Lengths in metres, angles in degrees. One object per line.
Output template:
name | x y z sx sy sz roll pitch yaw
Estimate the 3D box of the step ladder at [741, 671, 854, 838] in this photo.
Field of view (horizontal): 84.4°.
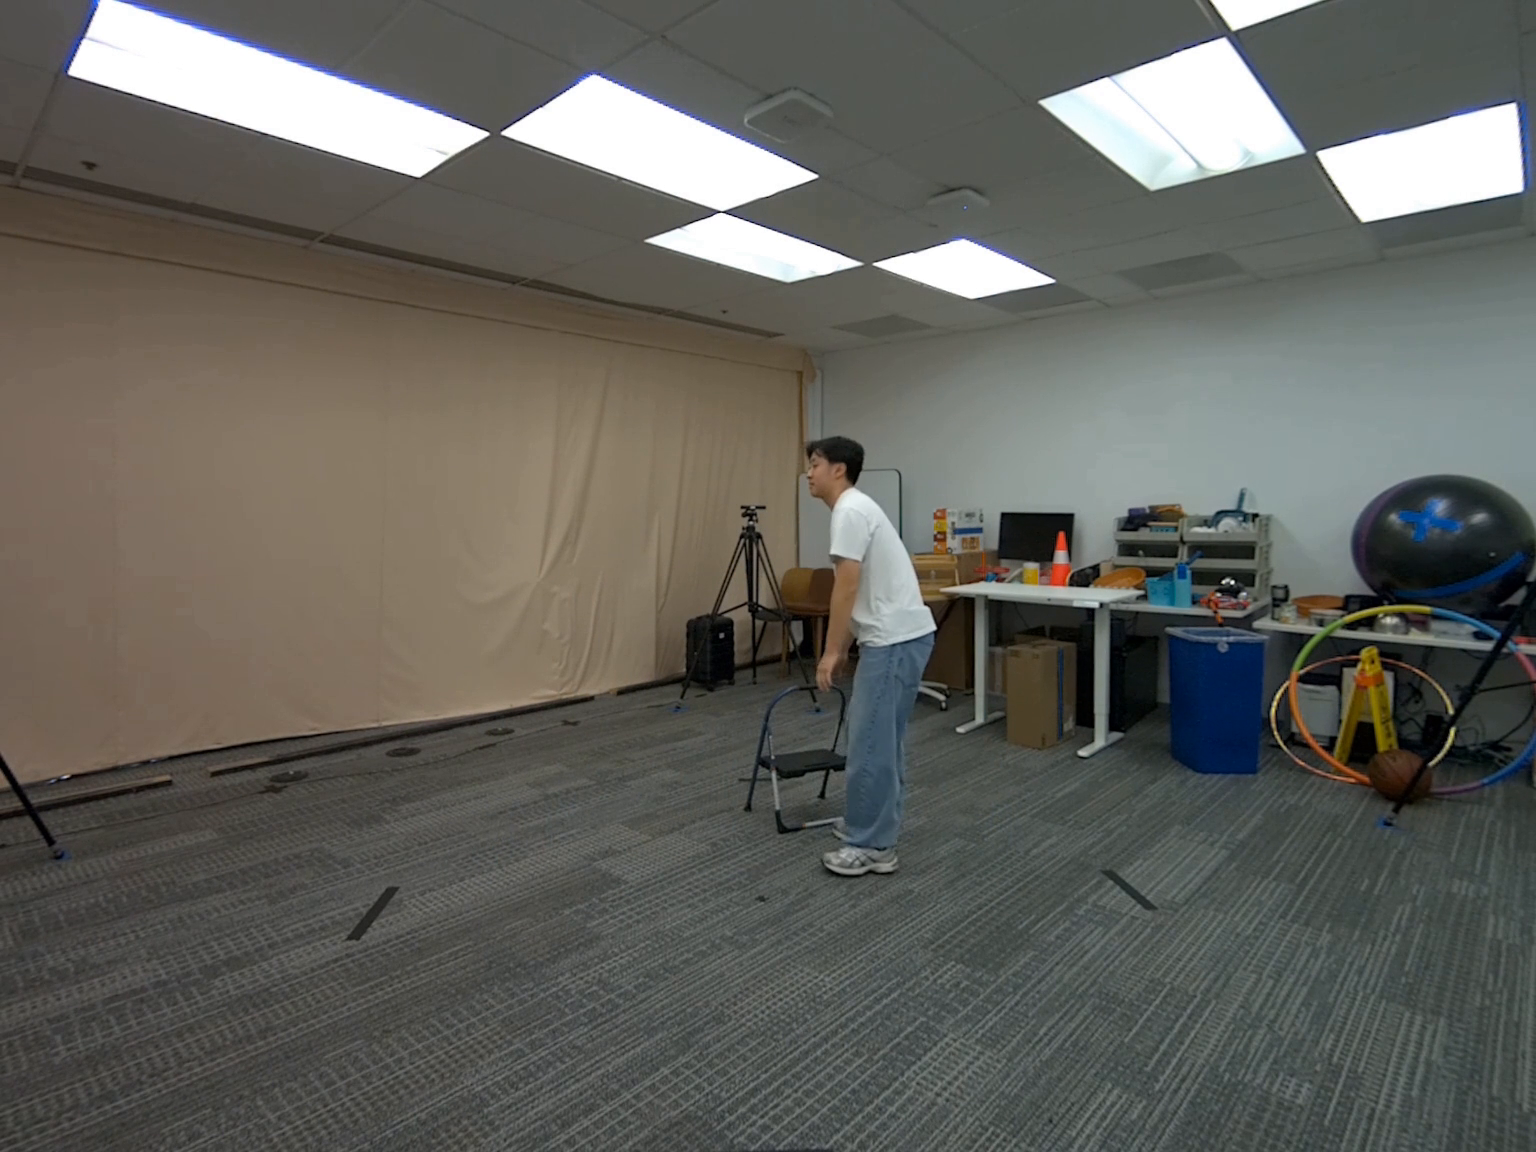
step ladder | 0.151 0.771 3.790 0.420 0.605 0.358 -2 4 -26
